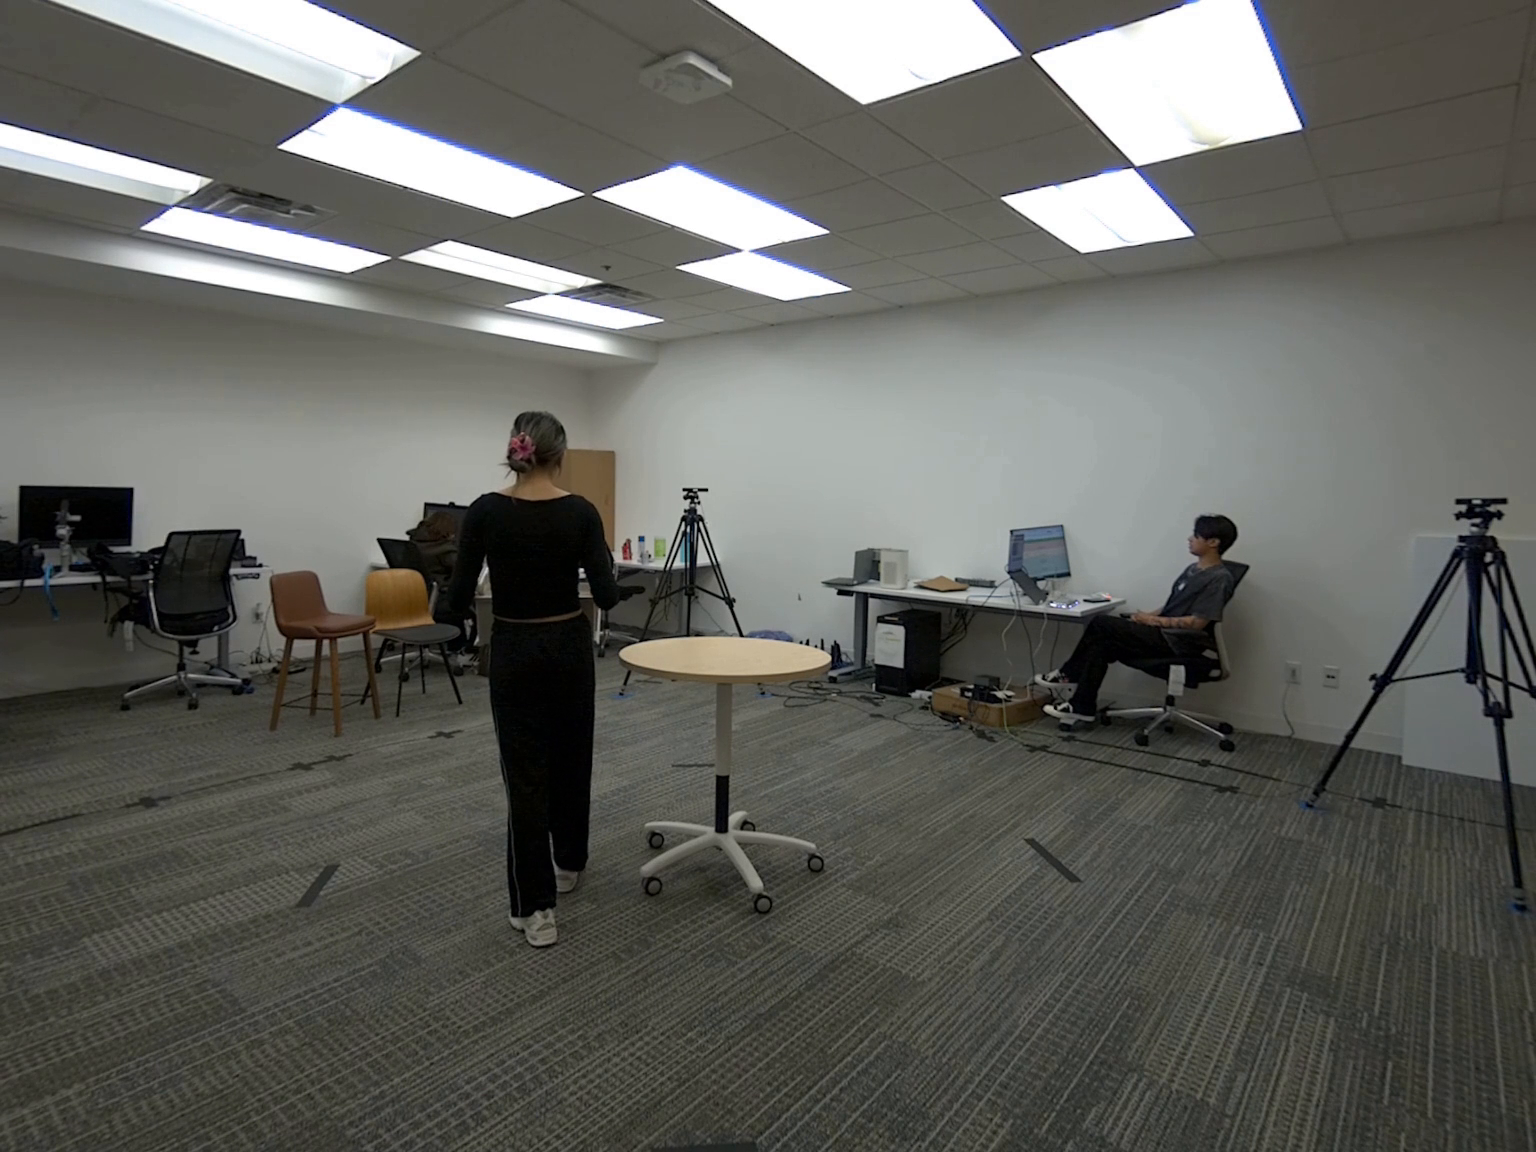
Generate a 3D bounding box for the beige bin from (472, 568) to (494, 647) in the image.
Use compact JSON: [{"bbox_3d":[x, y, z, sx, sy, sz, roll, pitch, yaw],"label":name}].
[{"bbox_3d":[-0.808,0.097,2.998,0.419,0.186,0.387,-2,20,-8],"label":"beige bin"}]
